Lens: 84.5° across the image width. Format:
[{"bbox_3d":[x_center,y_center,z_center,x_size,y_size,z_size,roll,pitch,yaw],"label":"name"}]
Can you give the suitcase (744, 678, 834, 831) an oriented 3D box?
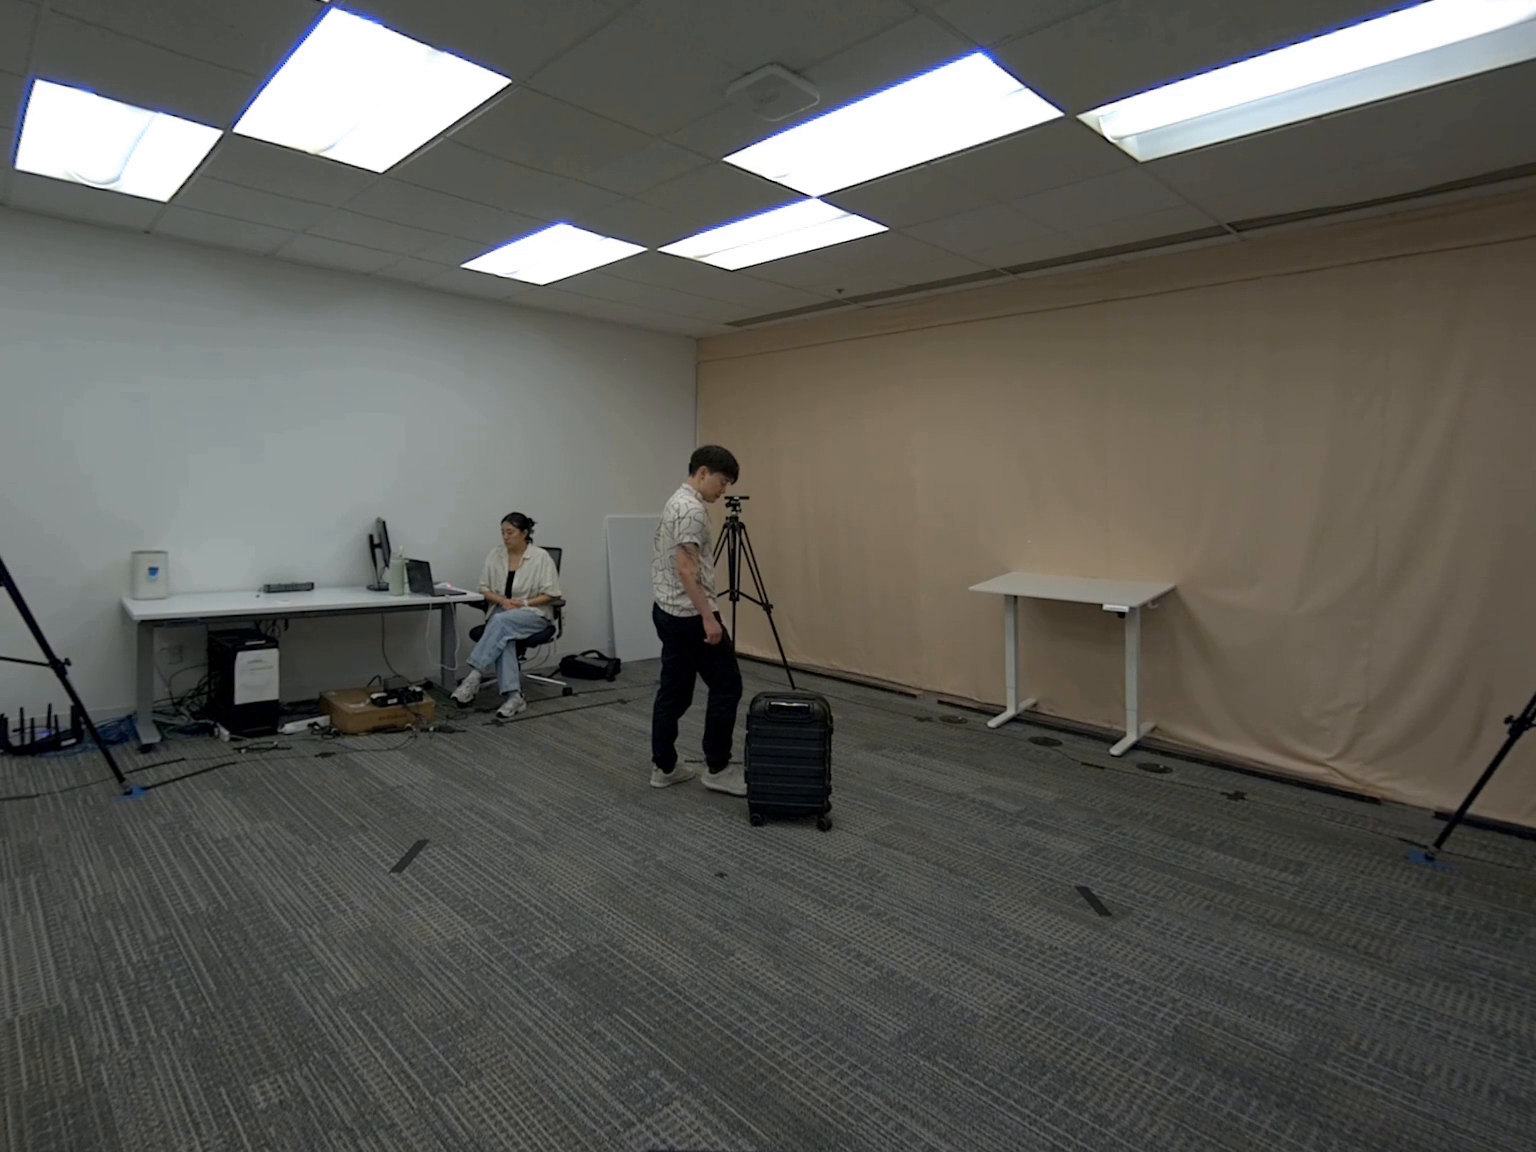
[{"bbox_3d":[0.083,0.784,3.674,0.377,0.548,0.247,1,3,6],"label":"suitcase"}]
